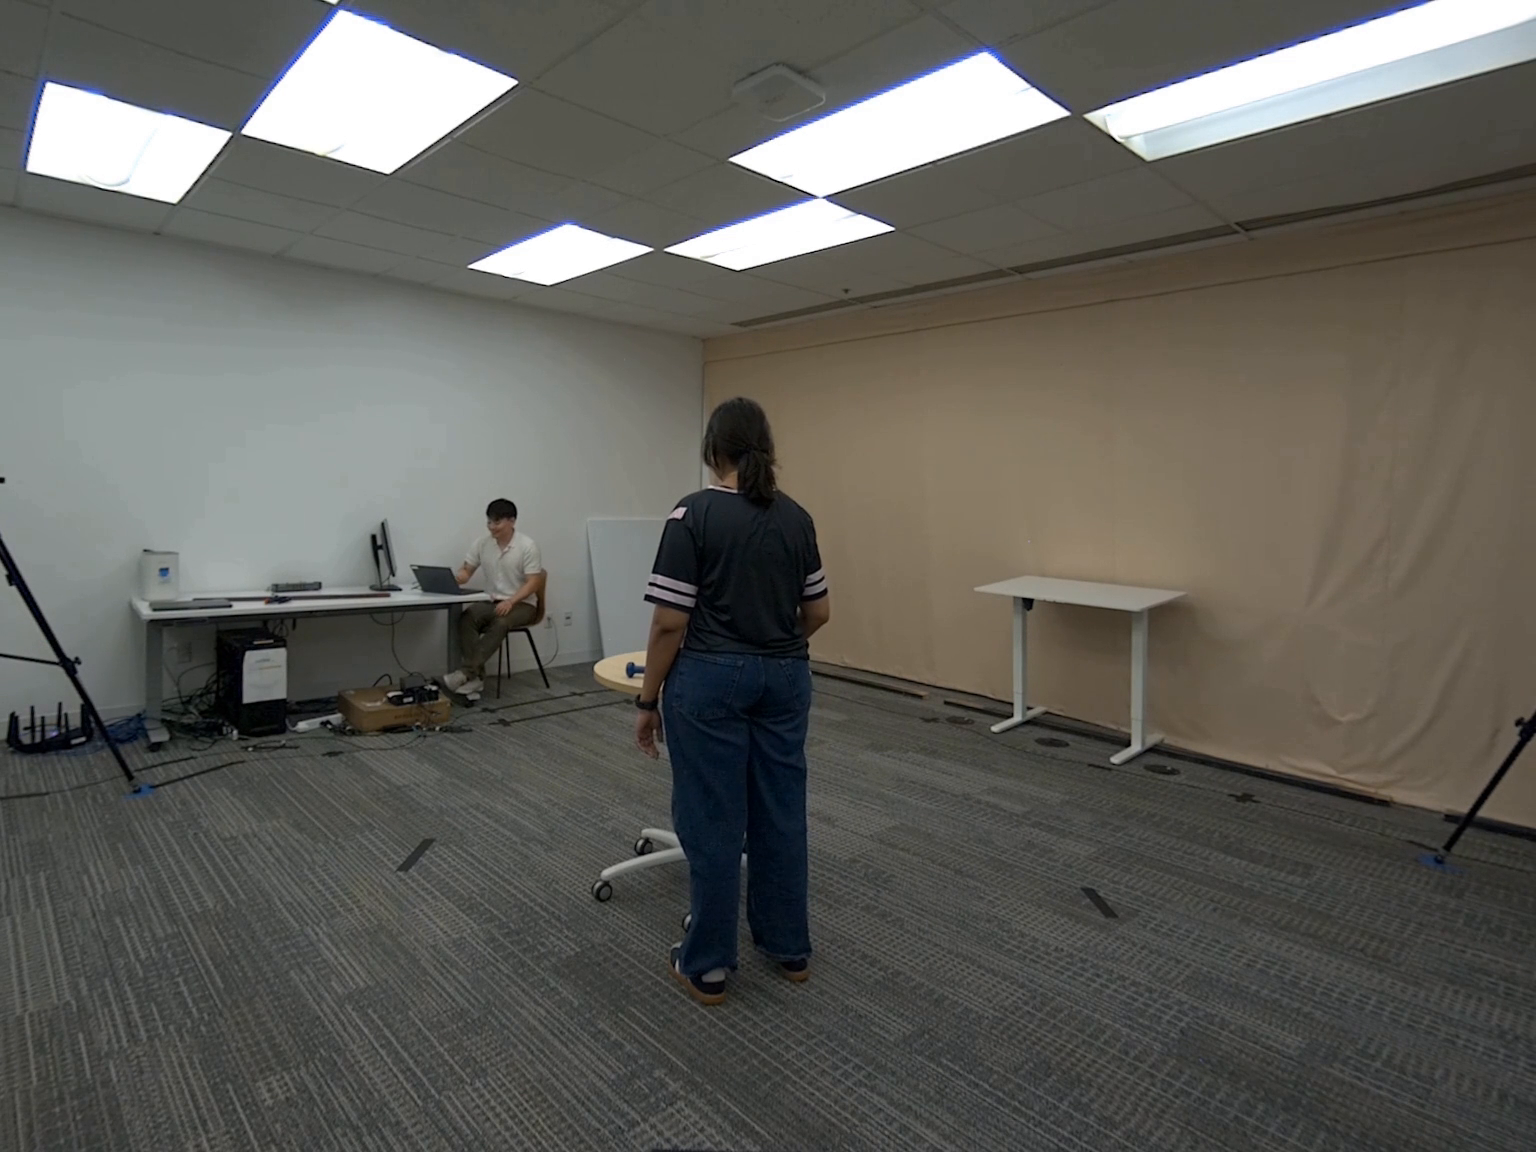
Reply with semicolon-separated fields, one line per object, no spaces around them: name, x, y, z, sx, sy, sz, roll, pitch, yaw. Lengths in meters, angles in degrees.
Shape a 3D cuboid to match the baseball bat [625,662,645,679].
baseball bat;-0.199;0.319;2.755;0.545;0.089;0.089;-1;4;6
